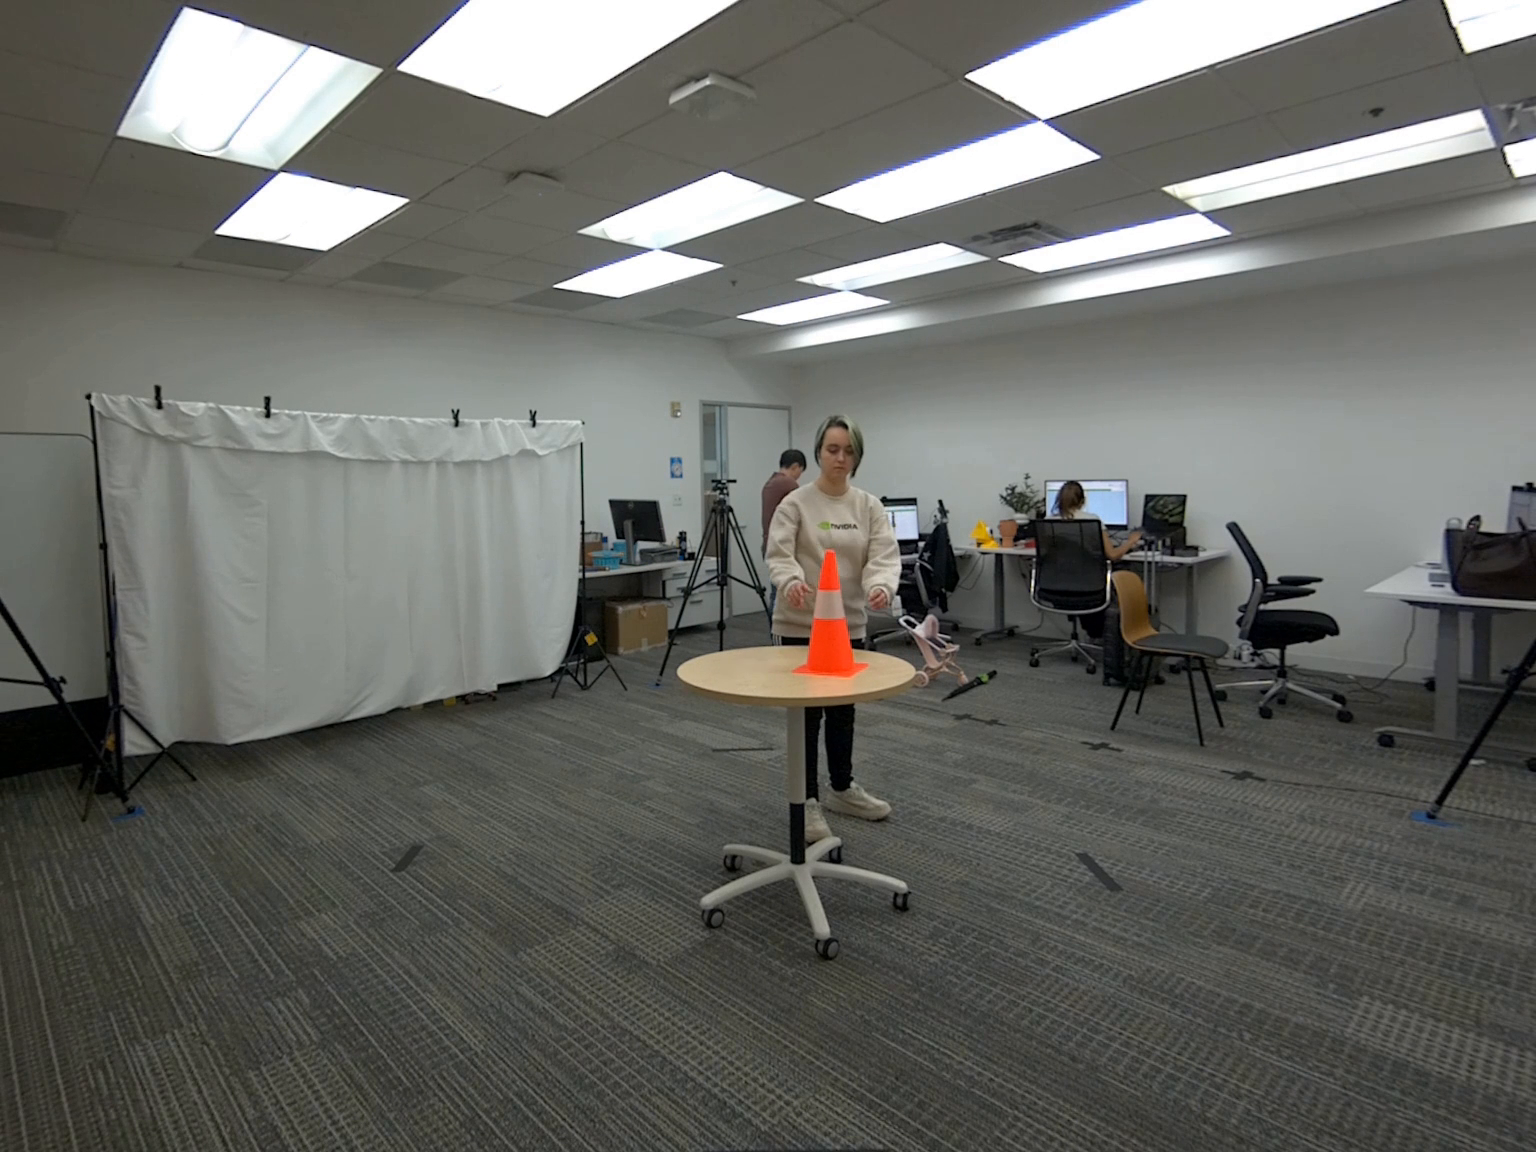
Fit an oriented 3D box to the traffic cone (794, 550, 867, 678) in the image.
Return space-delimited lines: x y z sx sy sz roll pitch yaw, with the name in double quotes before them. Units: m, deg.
"traffic cone" 0.193 0.114 2.744 0.209 0.382 0.200 0 5 31
